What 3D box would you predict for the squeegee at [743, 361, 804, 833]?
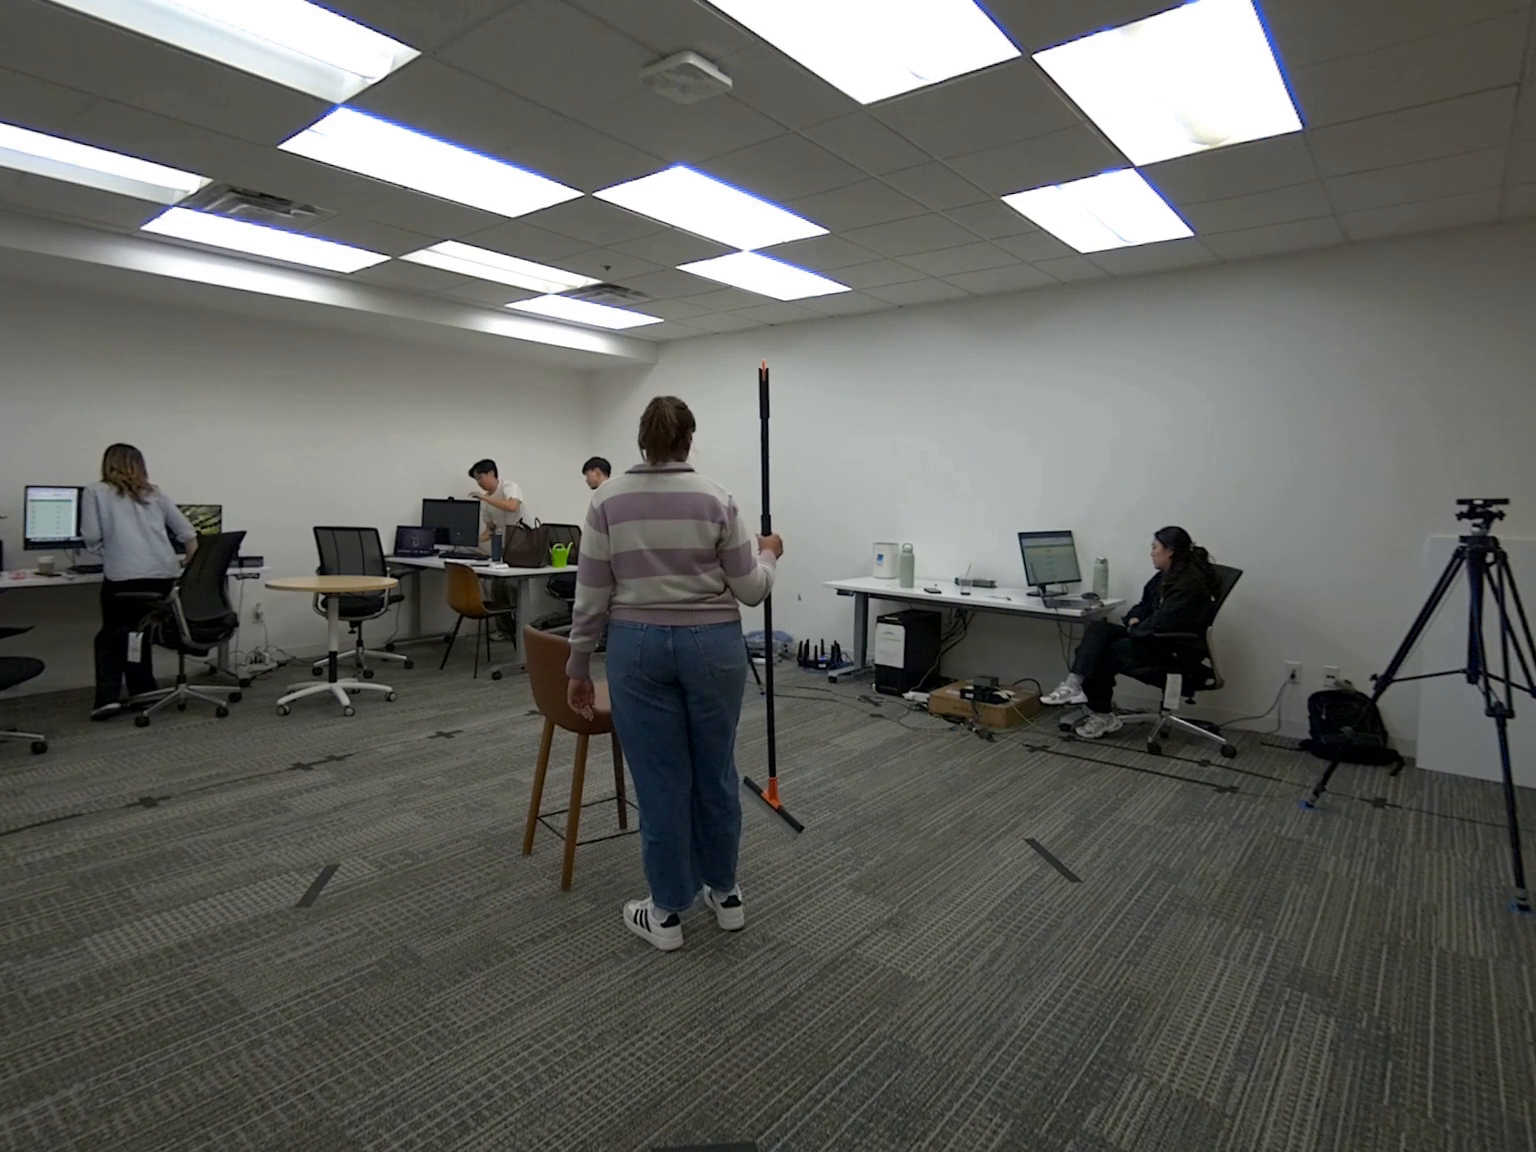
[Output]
[{"bbox_3d":[-0.002,0.068,2.878,0.052,1.528,0.450,-5,7,-26],"label":"squeegee"}]
